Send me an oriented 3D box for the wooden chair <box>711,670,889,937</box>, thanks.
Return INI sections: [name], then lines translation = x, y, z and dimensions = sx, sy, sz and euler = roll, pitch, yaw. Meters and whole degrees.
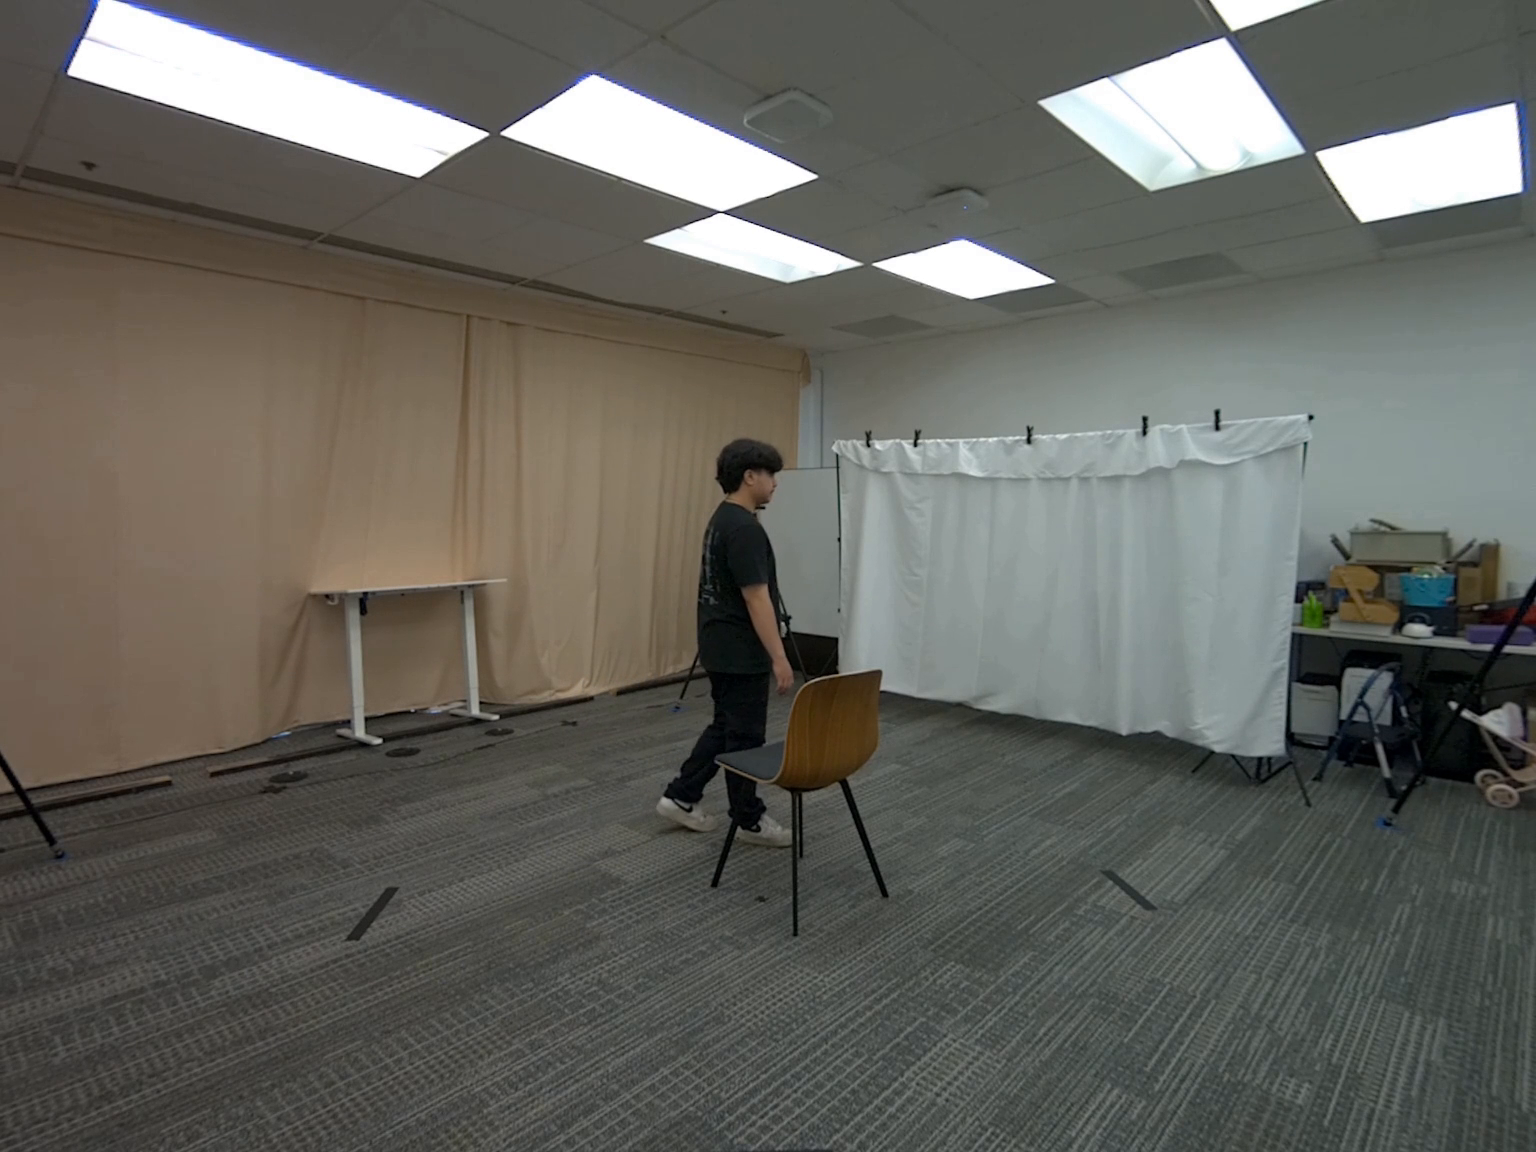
[wooden chair]
translation = 0.108, 0.715, 3.007
dimensions = 0.464, 0.874, 0.541
euler = -3, 9, -39
